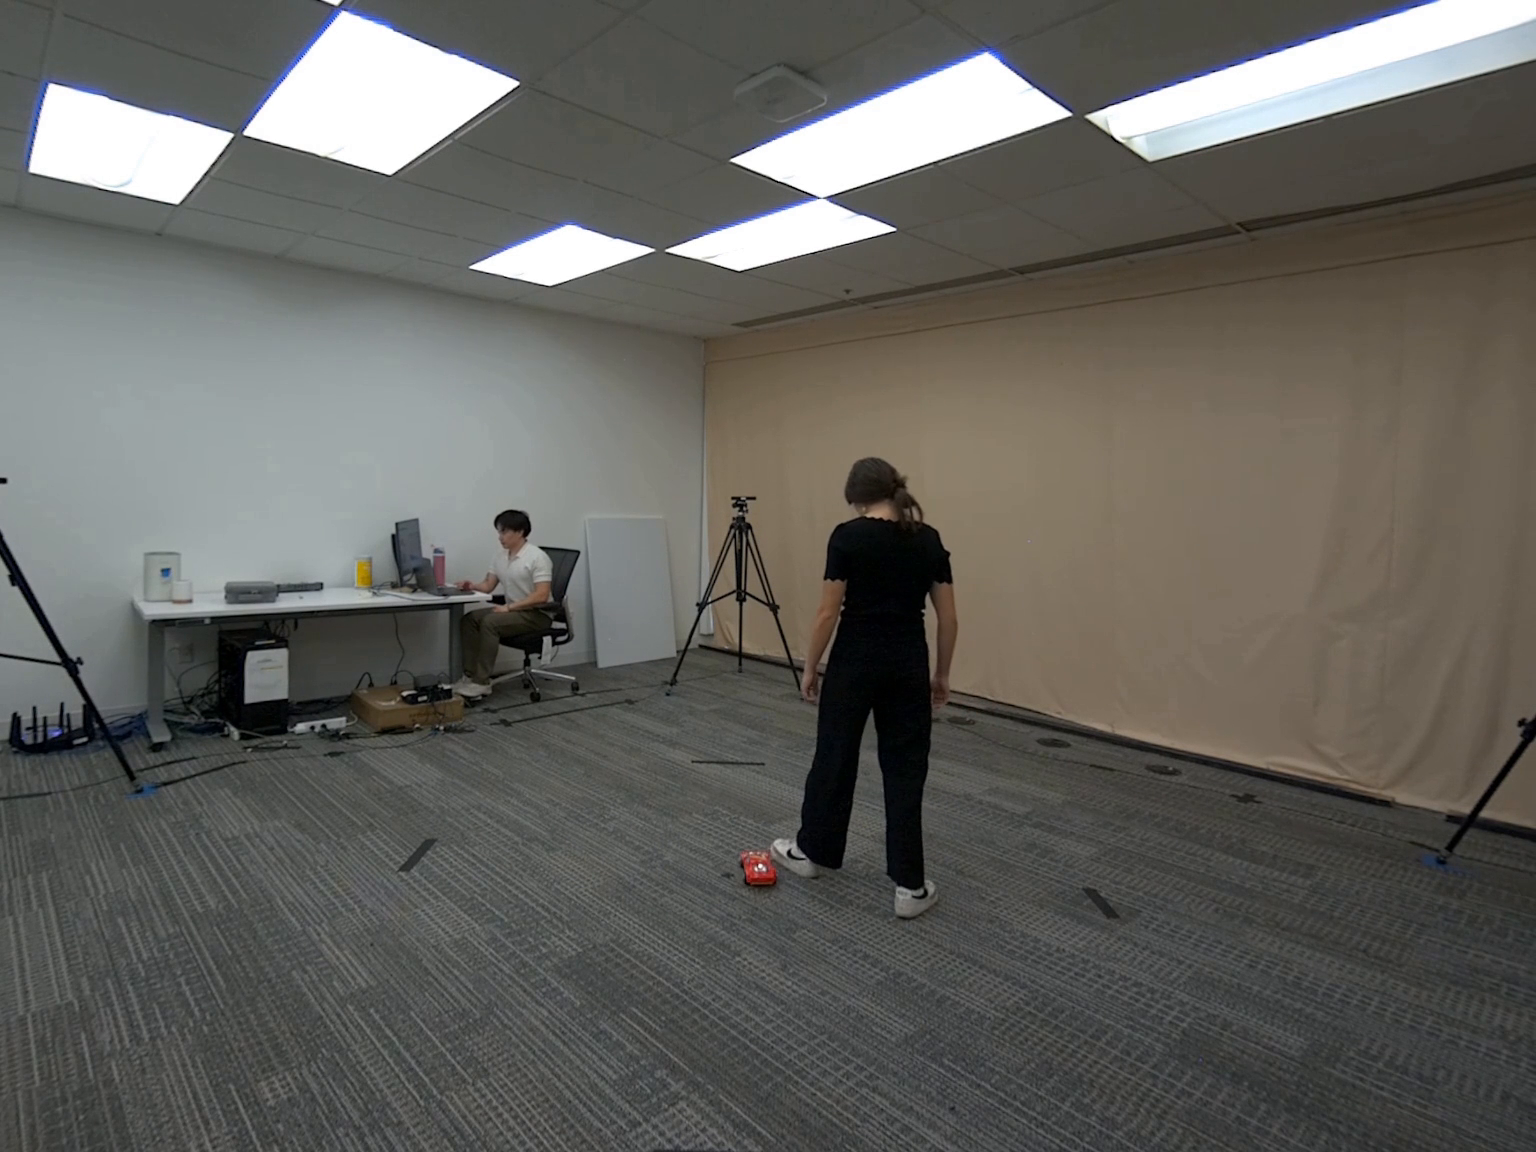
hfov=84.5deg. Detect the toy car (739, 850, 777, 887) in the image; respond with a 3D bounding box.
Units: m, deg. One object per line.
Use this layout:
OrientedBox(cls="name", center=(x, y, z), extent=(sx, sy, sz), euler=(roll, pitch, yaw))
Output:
OrientedBox(cls="toy car", center=(-0.033, 1.069, 3.105), extent=(0.130, 0.084, 0.254), euler=(0, -7, -5))
